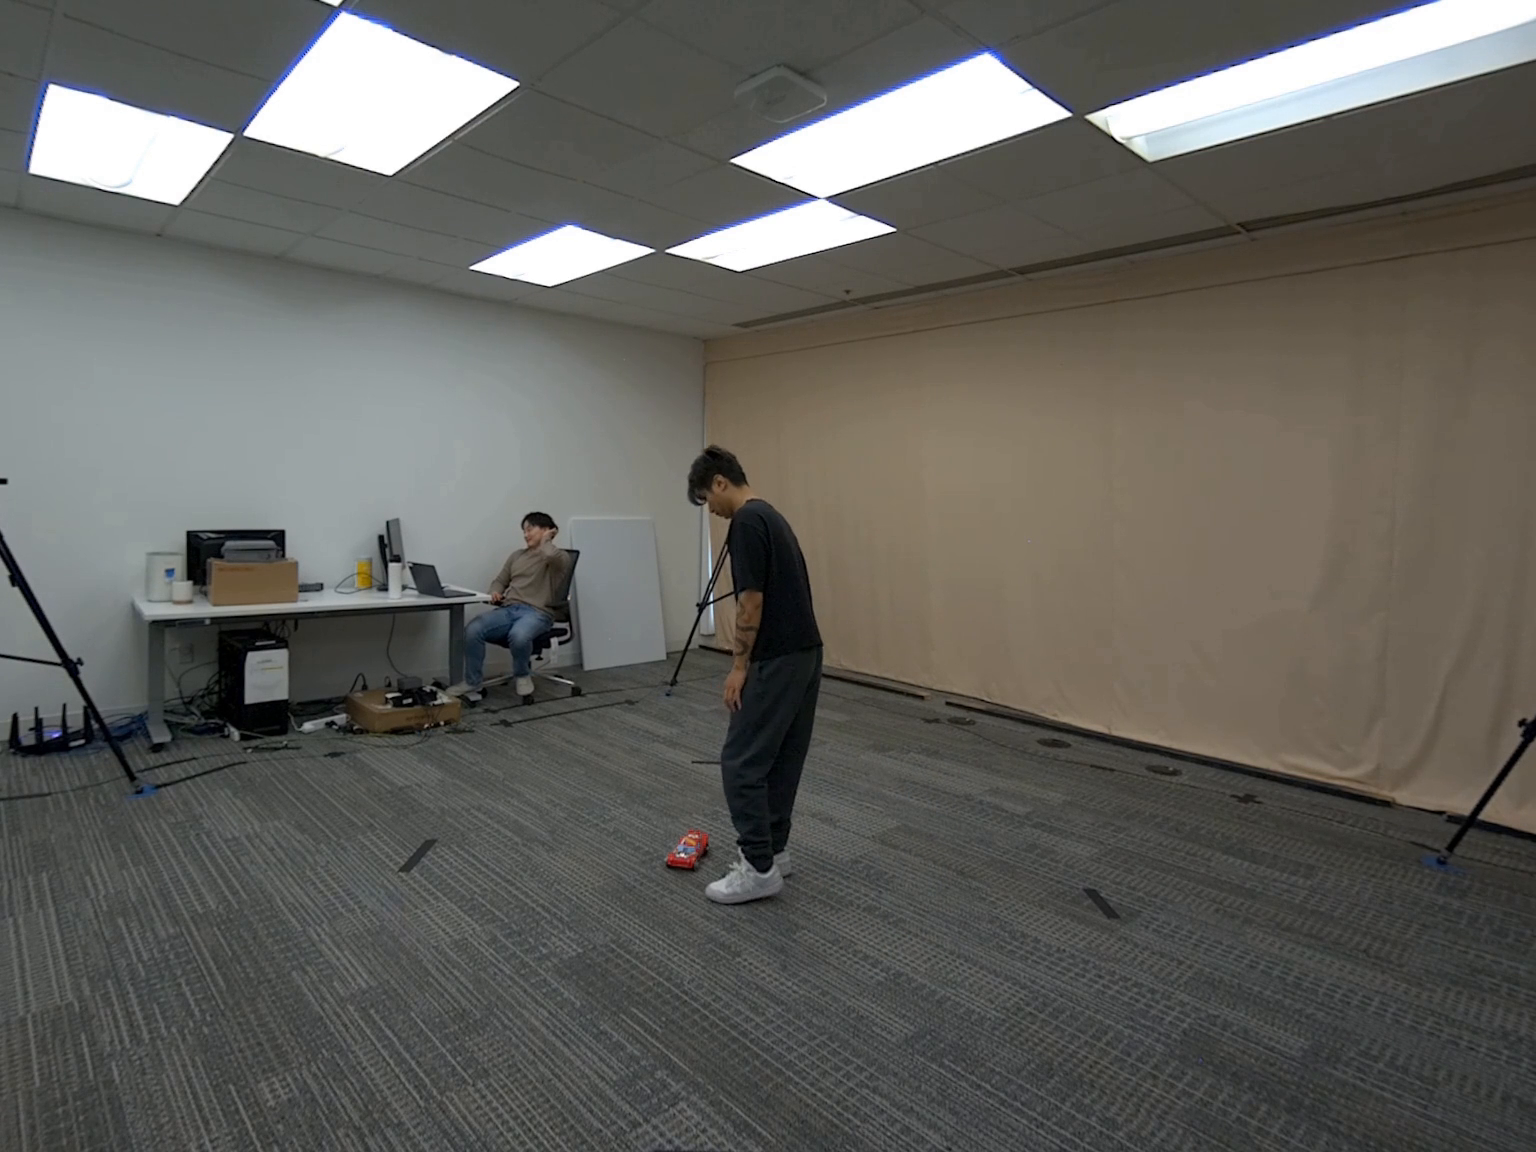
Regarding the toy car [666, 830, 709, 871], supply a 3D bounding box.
[{"bbox_3d":[-0.311,1.061,3.244,0.132,0.082,0.254,2,15,13],"label":"toy car"}]
